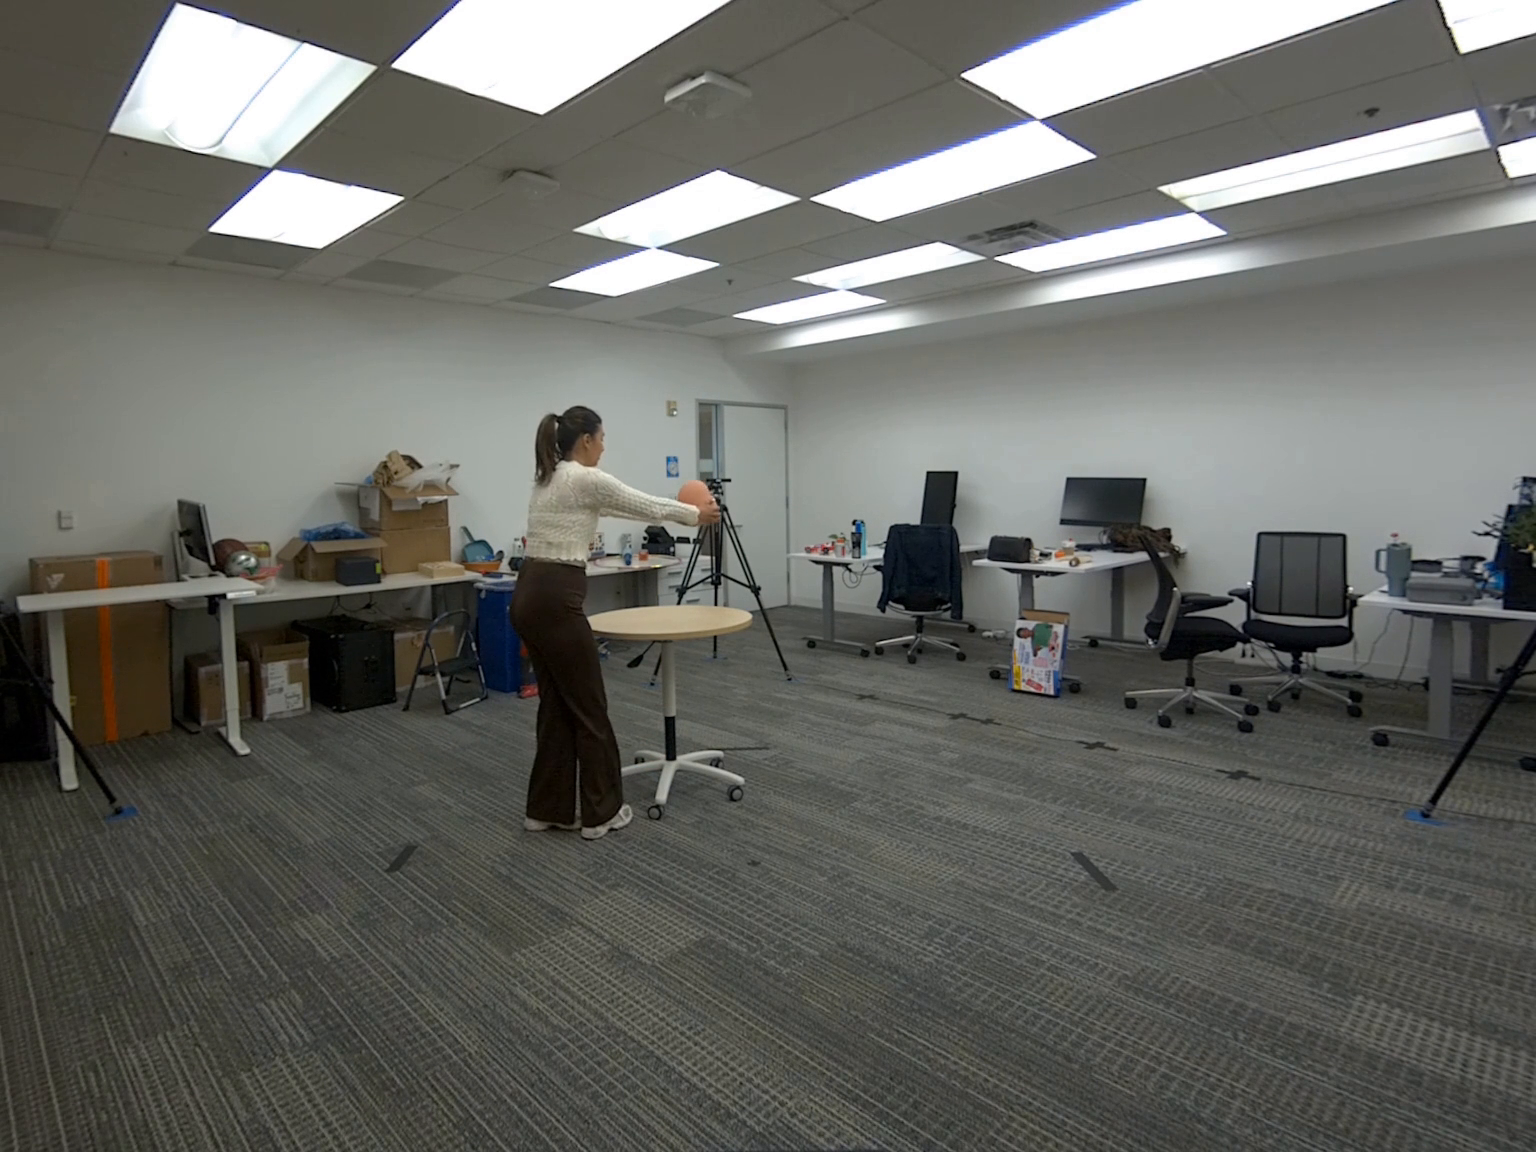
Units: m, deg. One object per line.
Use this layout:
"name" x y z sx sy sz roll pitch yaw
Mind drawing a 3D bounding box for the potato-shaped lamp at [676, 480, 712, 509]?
"potato-shaped lamp" -0.319 -0.319 3.772 0.168 0.196 0.169 -14 10 -30
